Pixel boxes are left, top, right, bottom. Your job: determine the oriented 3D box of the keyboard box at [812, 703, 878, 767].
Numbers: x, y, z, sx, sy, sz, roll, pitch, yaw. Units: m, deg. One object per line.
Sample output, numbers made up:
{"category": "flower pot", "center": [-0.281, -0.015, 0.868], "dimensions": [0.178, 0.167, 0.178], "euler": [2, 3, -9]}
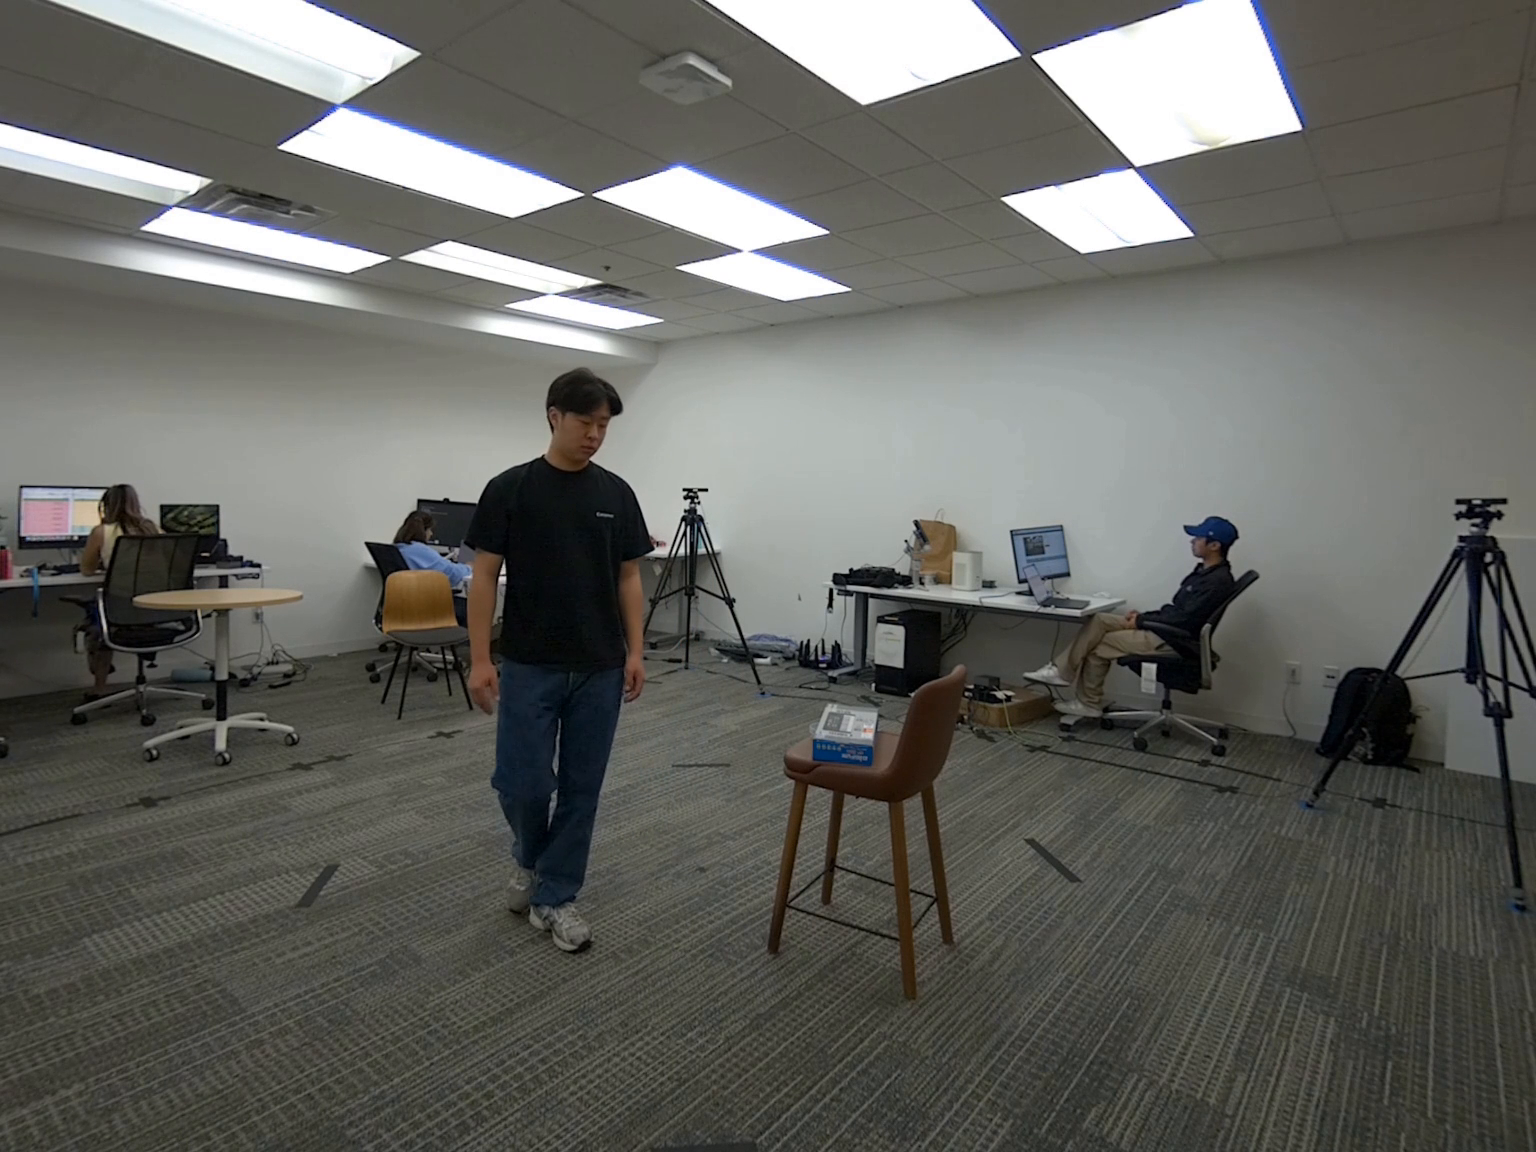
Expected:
{"category": "keyboard box", "center": [0.240, 0.481, 2.643], "dimensions": [0.178, 0.059, 0.433], "euler": [4, 6, 10]}
